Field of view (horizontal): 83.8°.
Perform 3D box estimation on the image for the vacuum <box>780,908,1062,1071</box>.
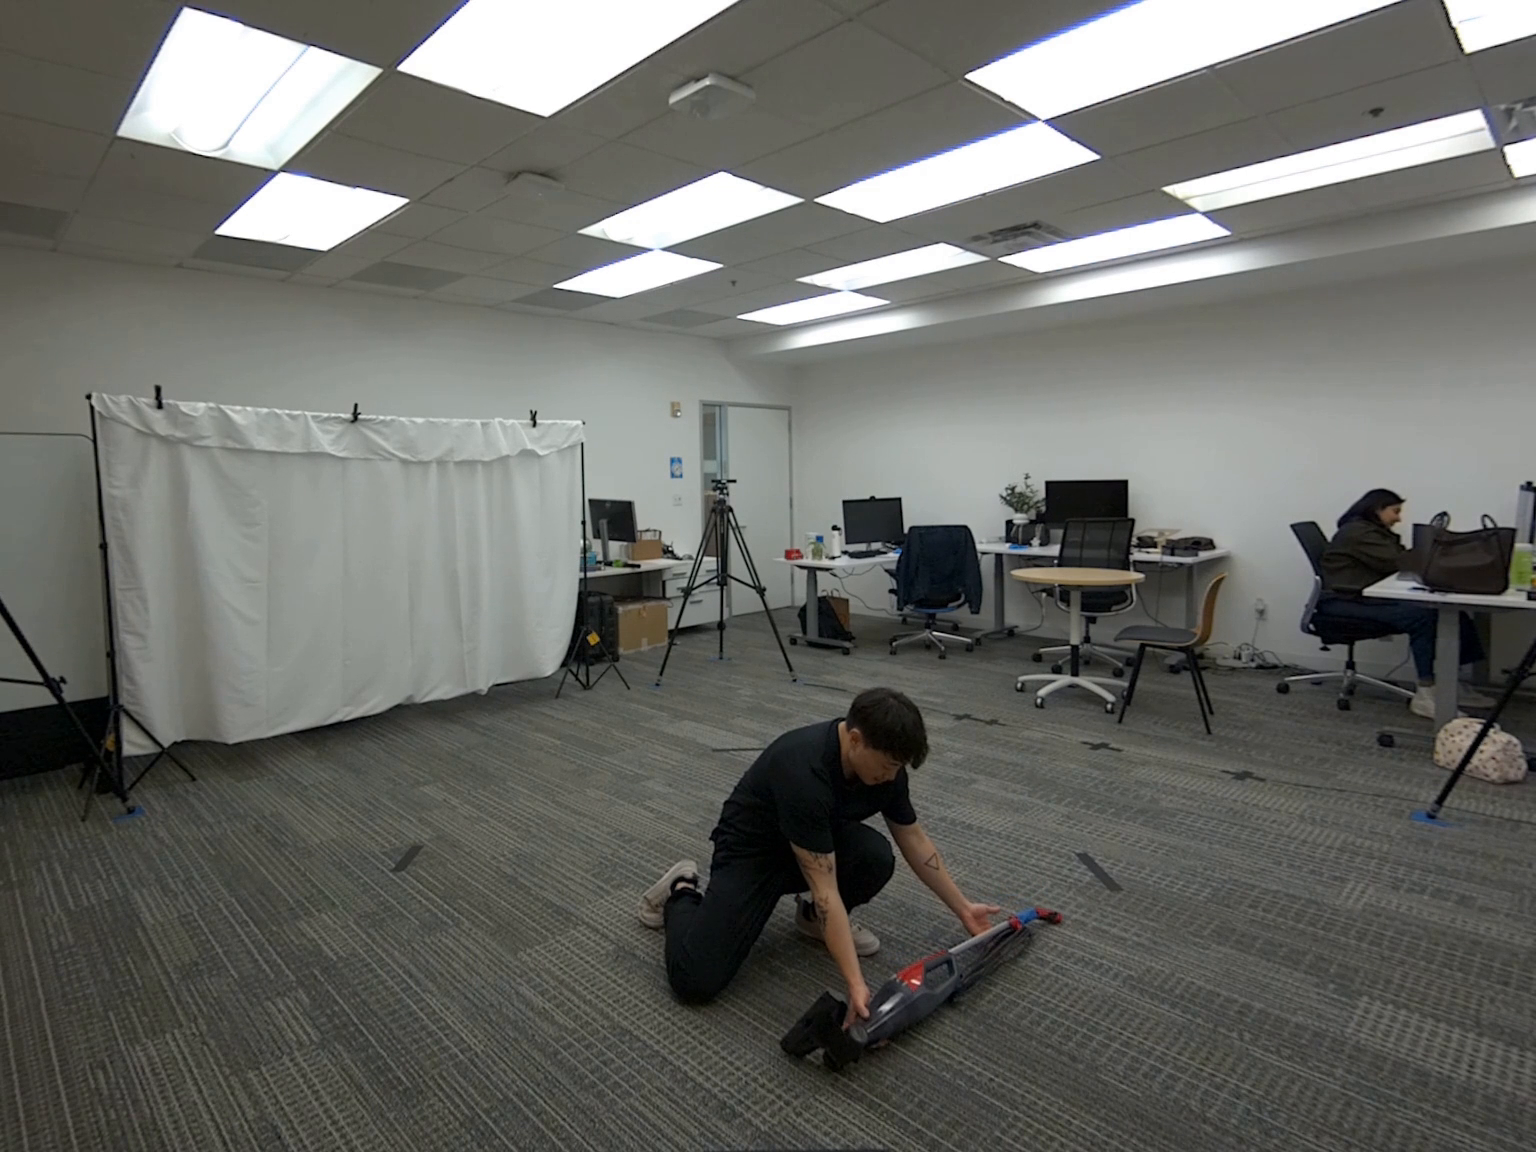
[{"bbox_3d":[0.515,1.070,2.332,1.019,0.250,0.149,0,41,-40],"label":"vacuum"}]
